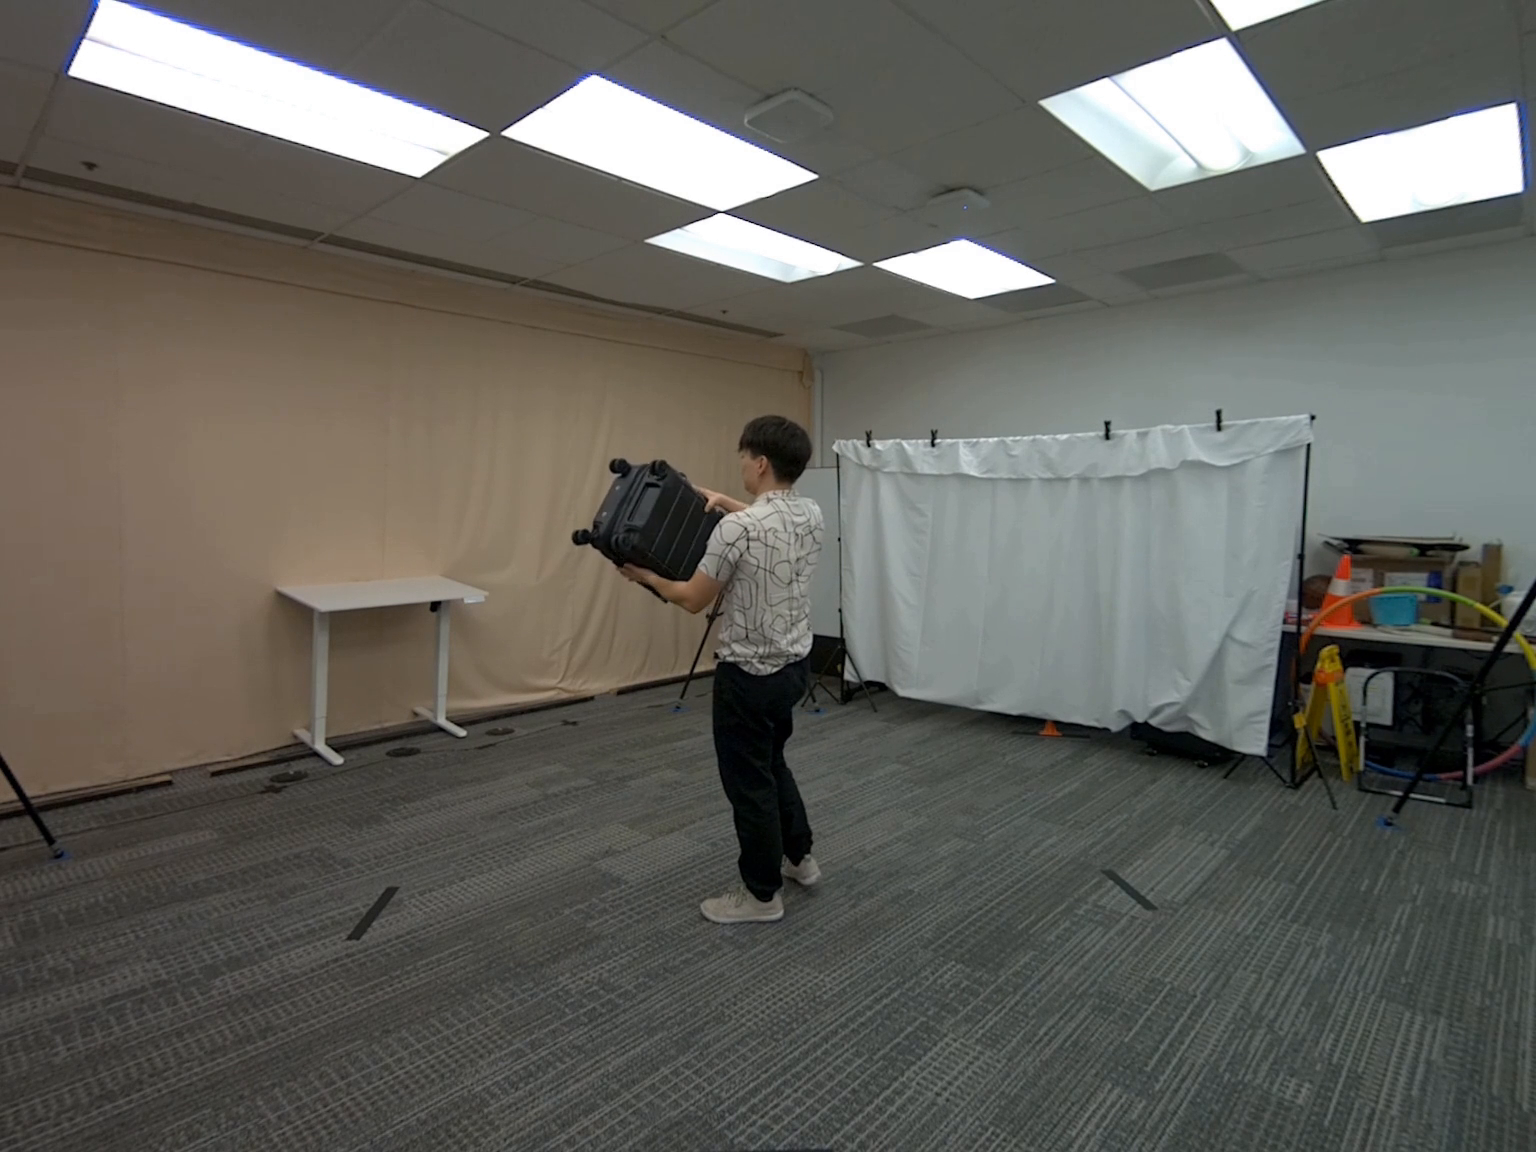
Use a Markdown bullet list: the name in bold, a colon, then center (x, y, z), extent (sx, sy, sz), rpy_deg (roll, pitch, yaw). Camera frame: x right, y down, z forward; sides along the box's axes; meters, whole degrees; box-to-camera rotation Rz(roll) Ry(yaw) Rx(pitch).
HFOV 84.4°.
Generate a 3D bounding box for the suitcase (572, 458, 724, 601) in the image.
- **suitcase**: center (-0.367, -0.138, 3.014), extent (0.257, 0.376, 0.529), rpy_deg (8, -23, 40)
